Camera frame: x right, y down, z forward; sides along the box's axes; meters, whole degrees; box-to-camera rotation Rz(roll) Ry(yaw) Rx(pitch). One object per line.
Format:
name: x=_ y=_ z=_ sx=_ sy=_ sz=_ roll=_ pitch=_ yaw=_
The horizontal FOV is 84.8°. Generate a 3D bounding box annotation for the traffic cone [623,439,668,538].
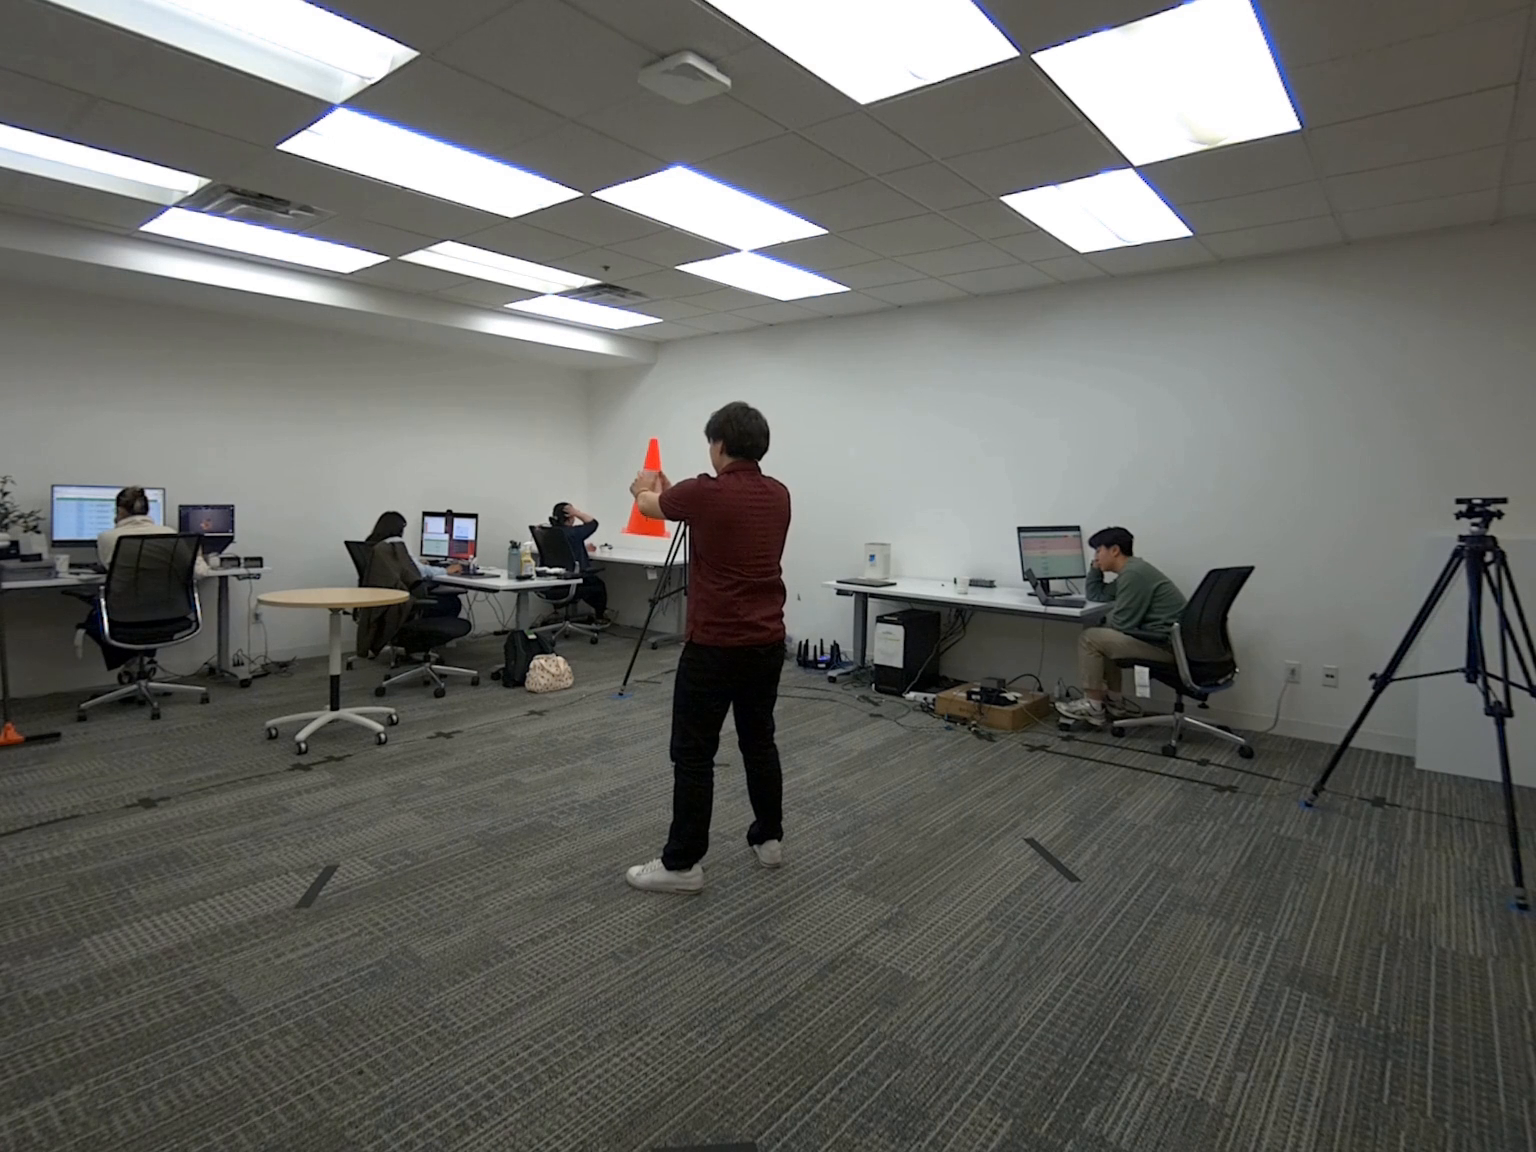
traffic cone: x=-0.488 y=-0.362 z=3.416 sx=0.209 sy=0.380 sz=0.201 roll=8 pitch=11 yaw=25
